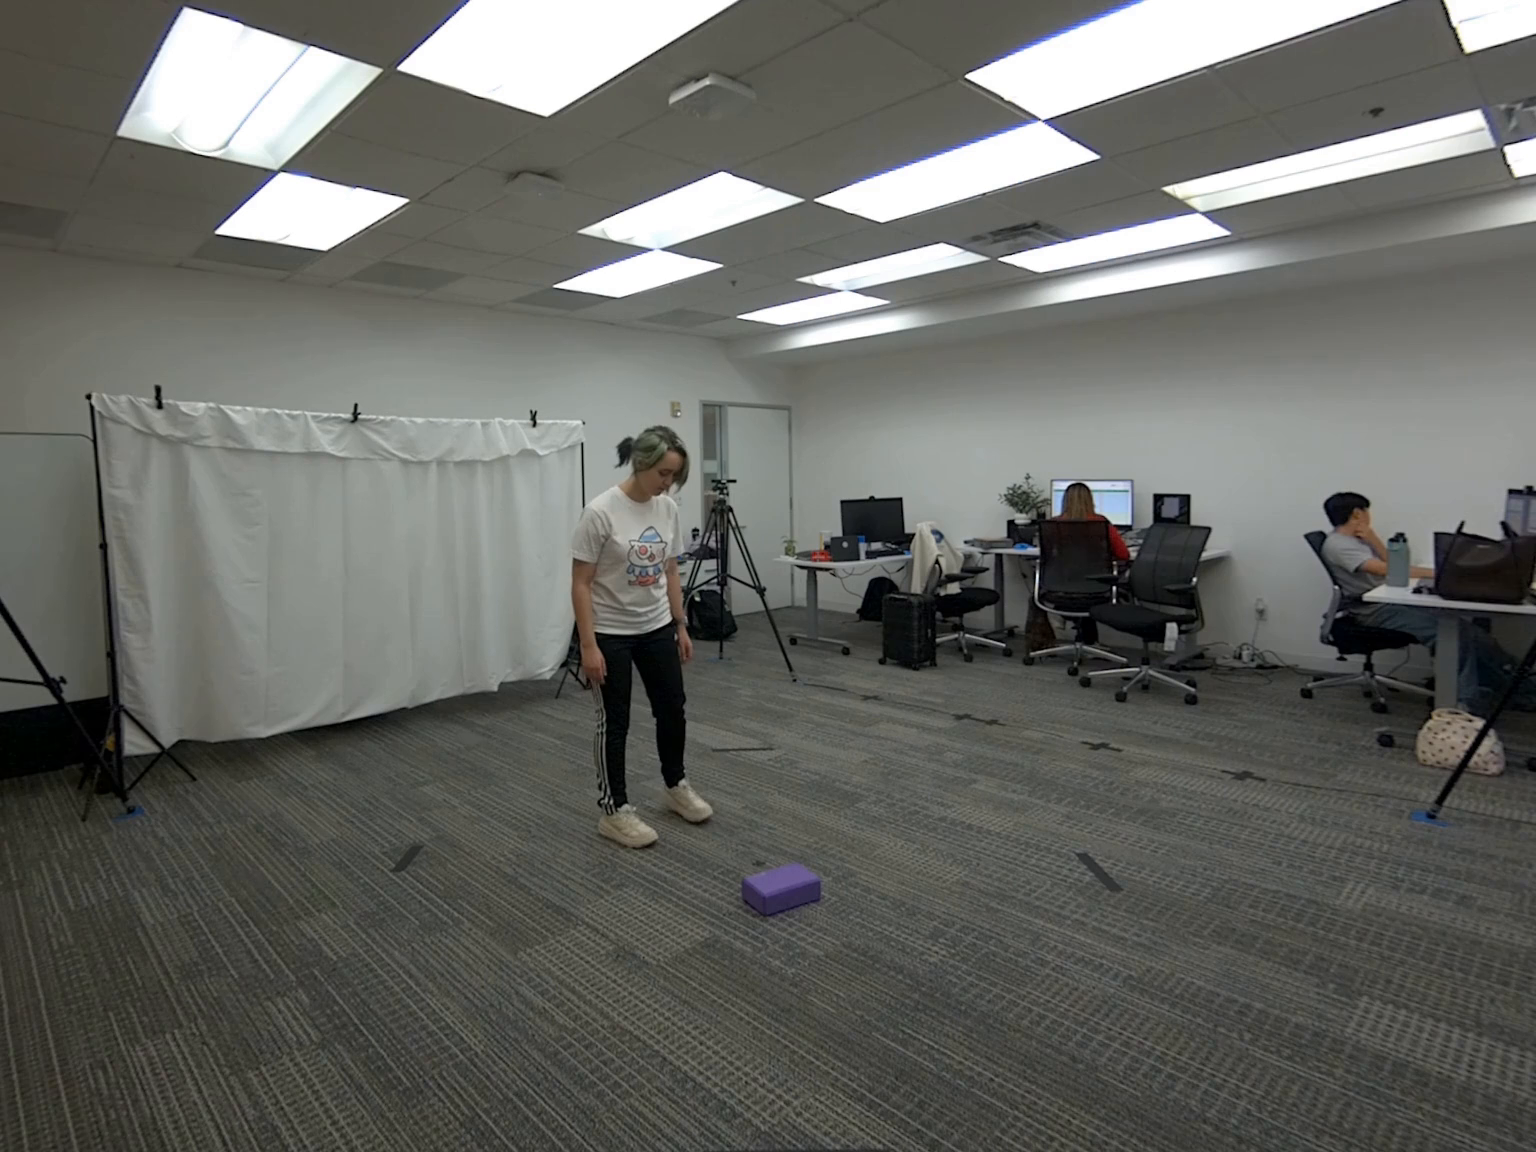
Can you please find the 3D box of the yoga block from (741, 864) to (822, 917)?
[{"bbox_3d":[0.048,1.037,2.836,0.224,0.076,0.153,-4,8,-30],"label":"yoga block"}]
